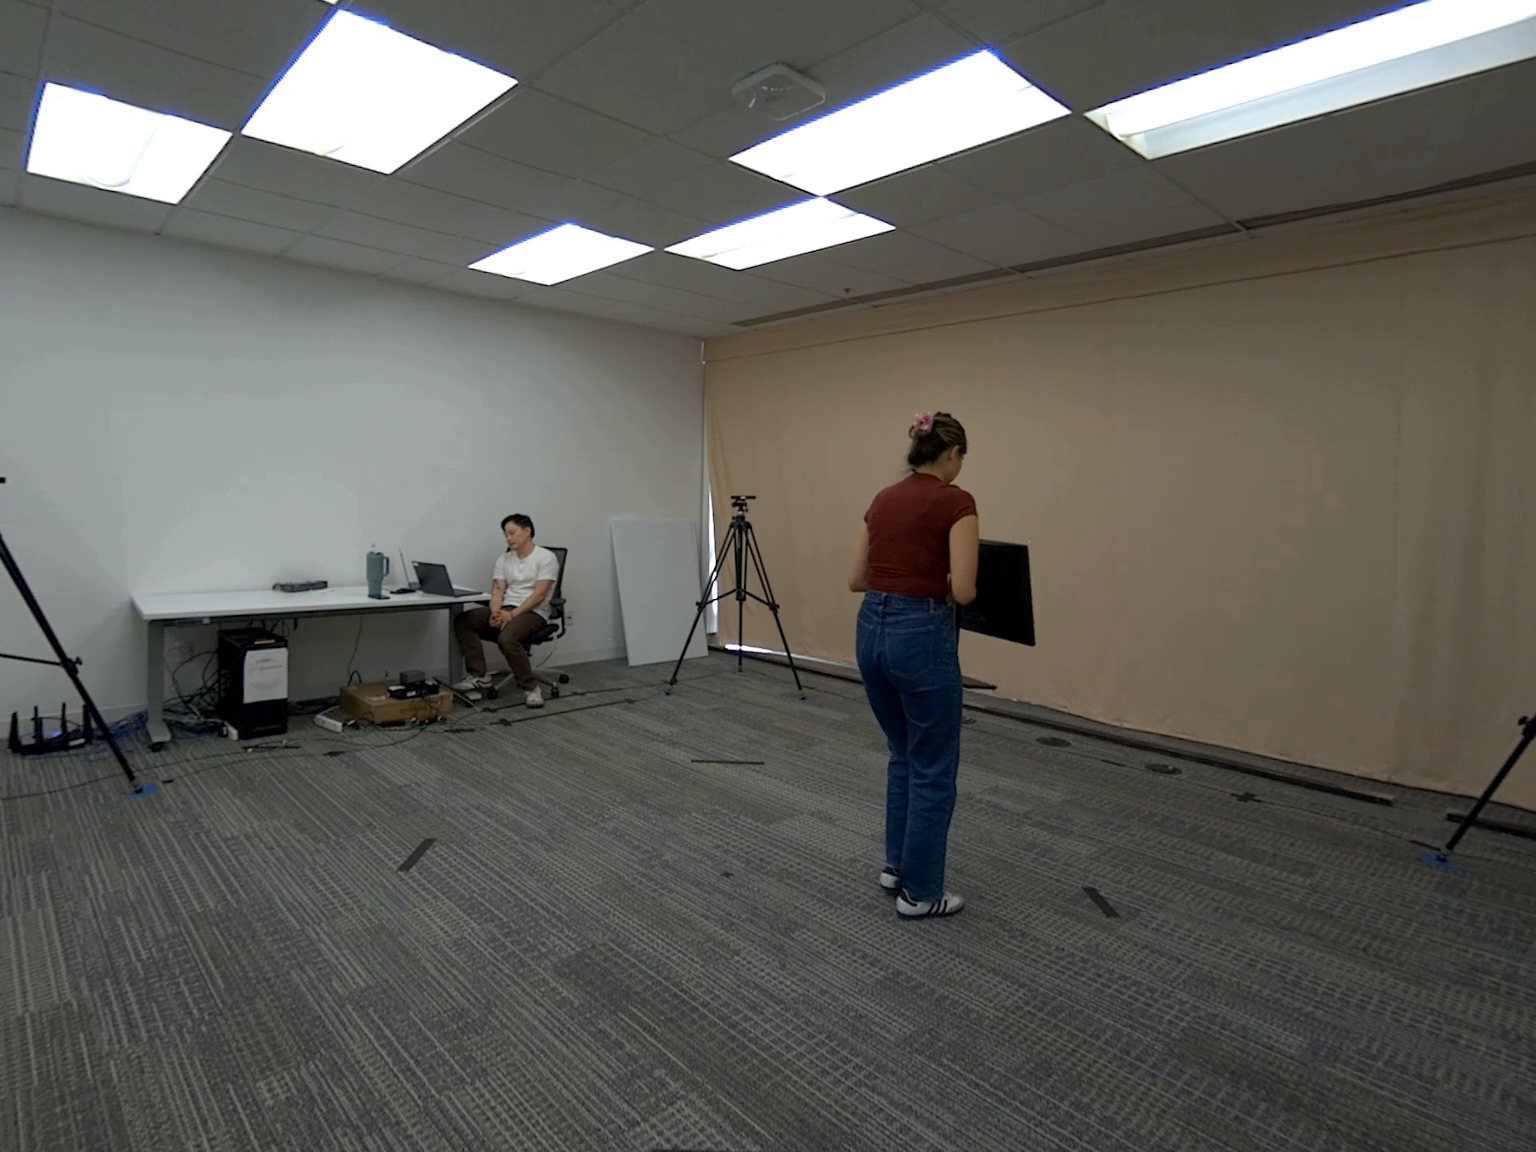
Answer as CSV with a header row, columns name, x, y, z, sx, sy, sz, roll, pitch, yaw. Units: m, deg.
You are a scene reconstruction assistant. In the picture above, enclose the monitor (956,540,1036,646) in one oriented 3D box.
name,x,y,z,sx,sy,sz,roll,pitch,yaw
monitor,0.682,0.127,3.007,0.183,0.521,0.553,1,7,-36
